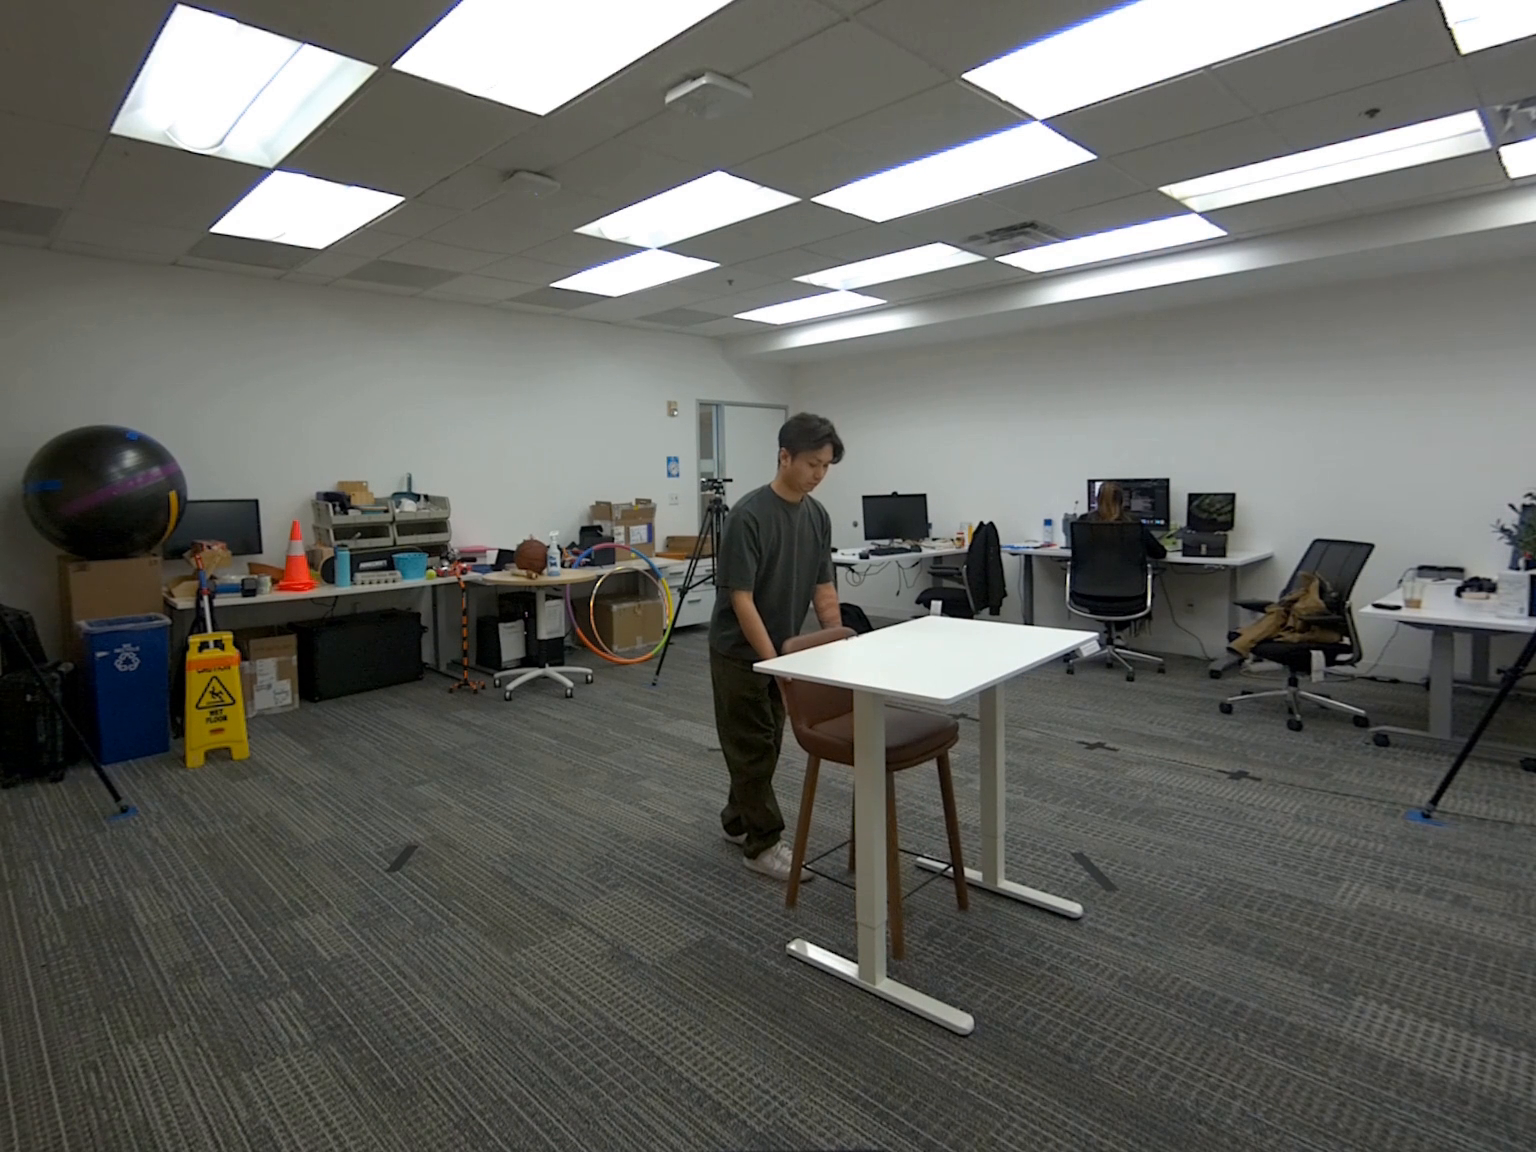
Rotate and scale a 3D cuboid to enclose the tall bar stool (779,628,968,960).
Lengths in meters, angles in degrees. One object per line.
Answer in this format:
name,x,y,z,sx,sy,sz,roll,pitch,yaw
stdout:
tall bar stool,0.332,0.639,2.745,0.481,0.888,0.444,-1,3,43
